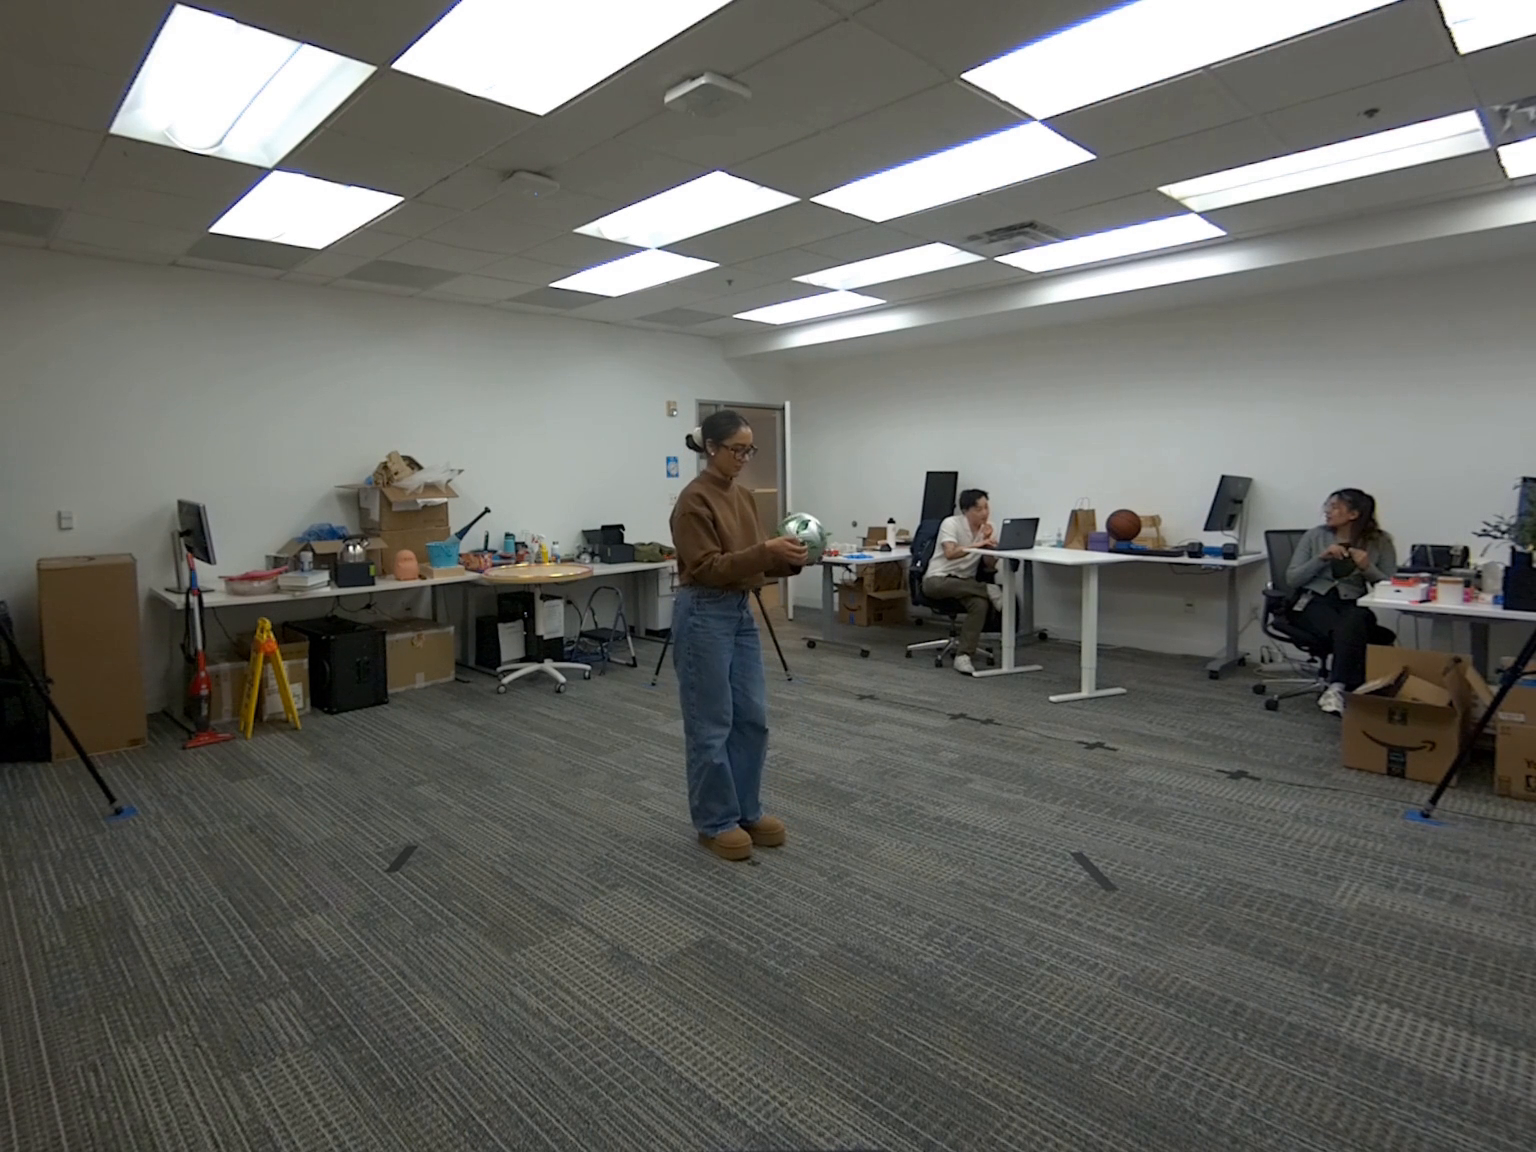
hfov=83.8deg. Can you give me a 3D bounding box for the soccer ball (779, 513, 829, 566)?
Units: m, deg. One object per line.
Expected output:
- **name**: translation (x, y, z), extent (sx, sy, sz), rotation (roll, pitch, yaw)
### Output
- **soccer ball**: translation (0.123, -0.133, 3.083), extent (0.187, 0.187, 0.188), rotation (-1, 5, -2)
